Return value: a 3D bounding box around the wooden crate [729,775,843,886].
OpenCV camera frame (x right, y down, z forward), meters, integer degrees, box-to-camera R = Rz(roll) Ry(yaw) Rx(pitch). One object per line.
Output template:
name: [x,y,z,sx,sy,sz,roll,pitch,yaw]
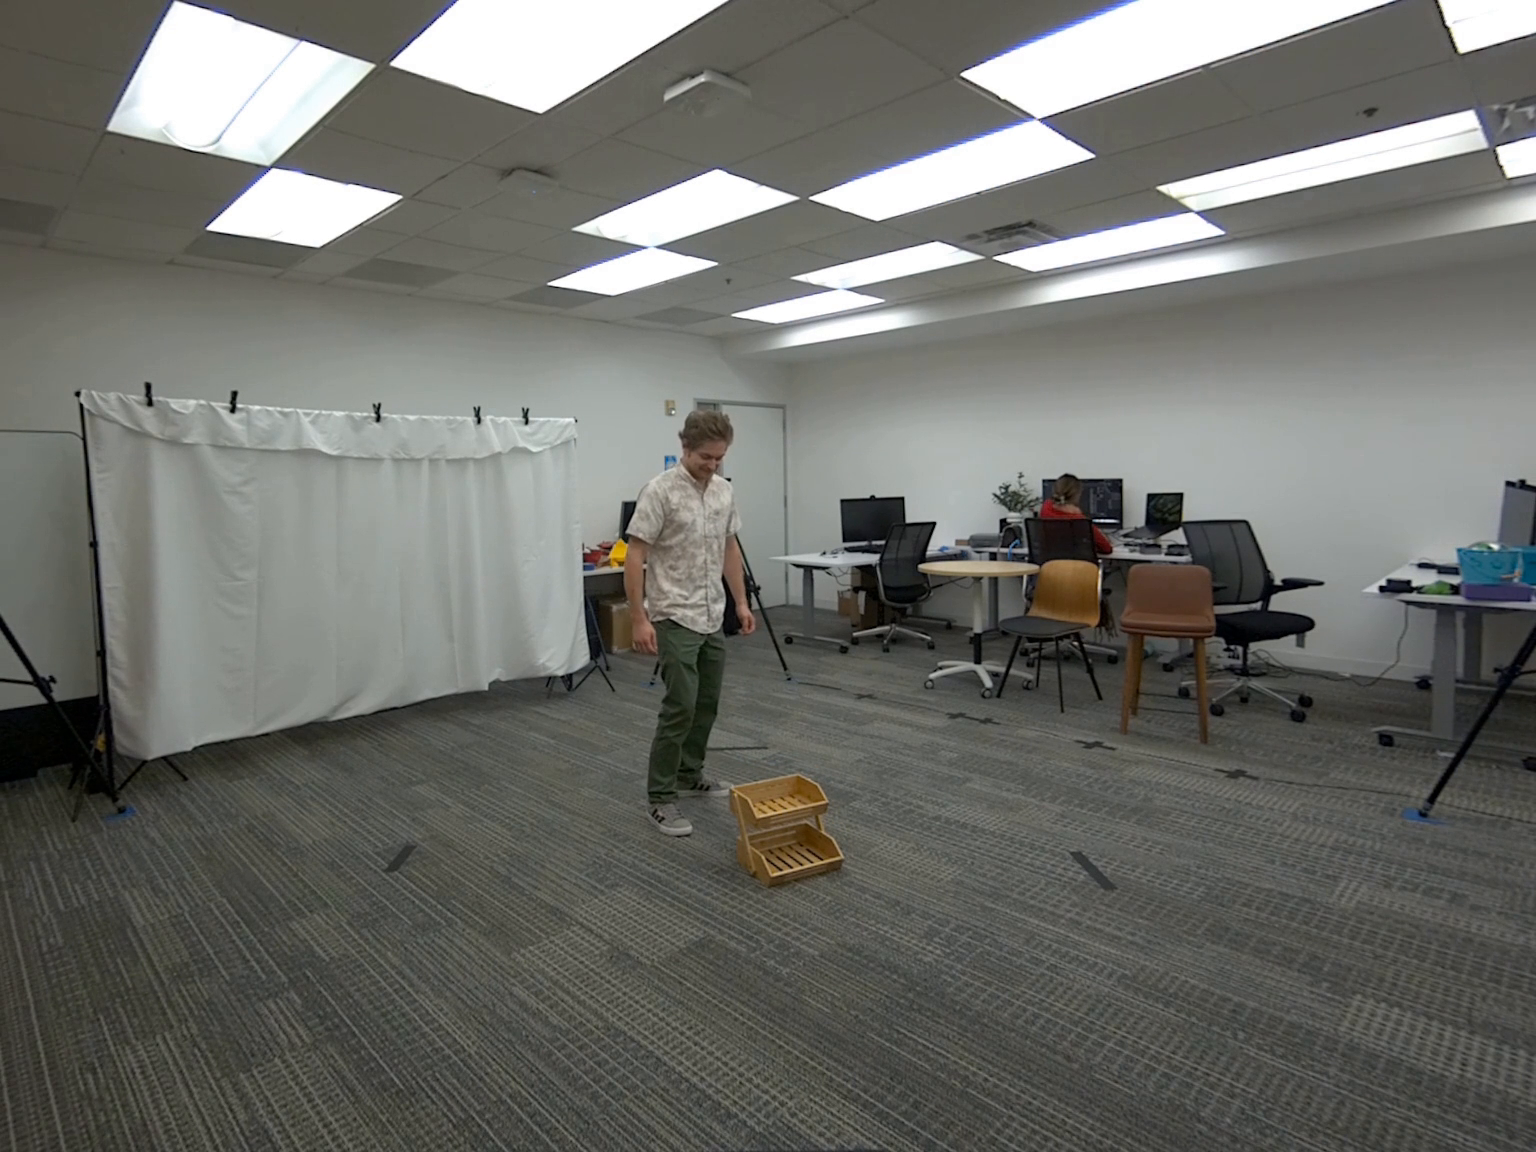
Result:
wooden crate: [0.068,0.908,3.089,0.317,0.272,0.310,-4,5,-29]
